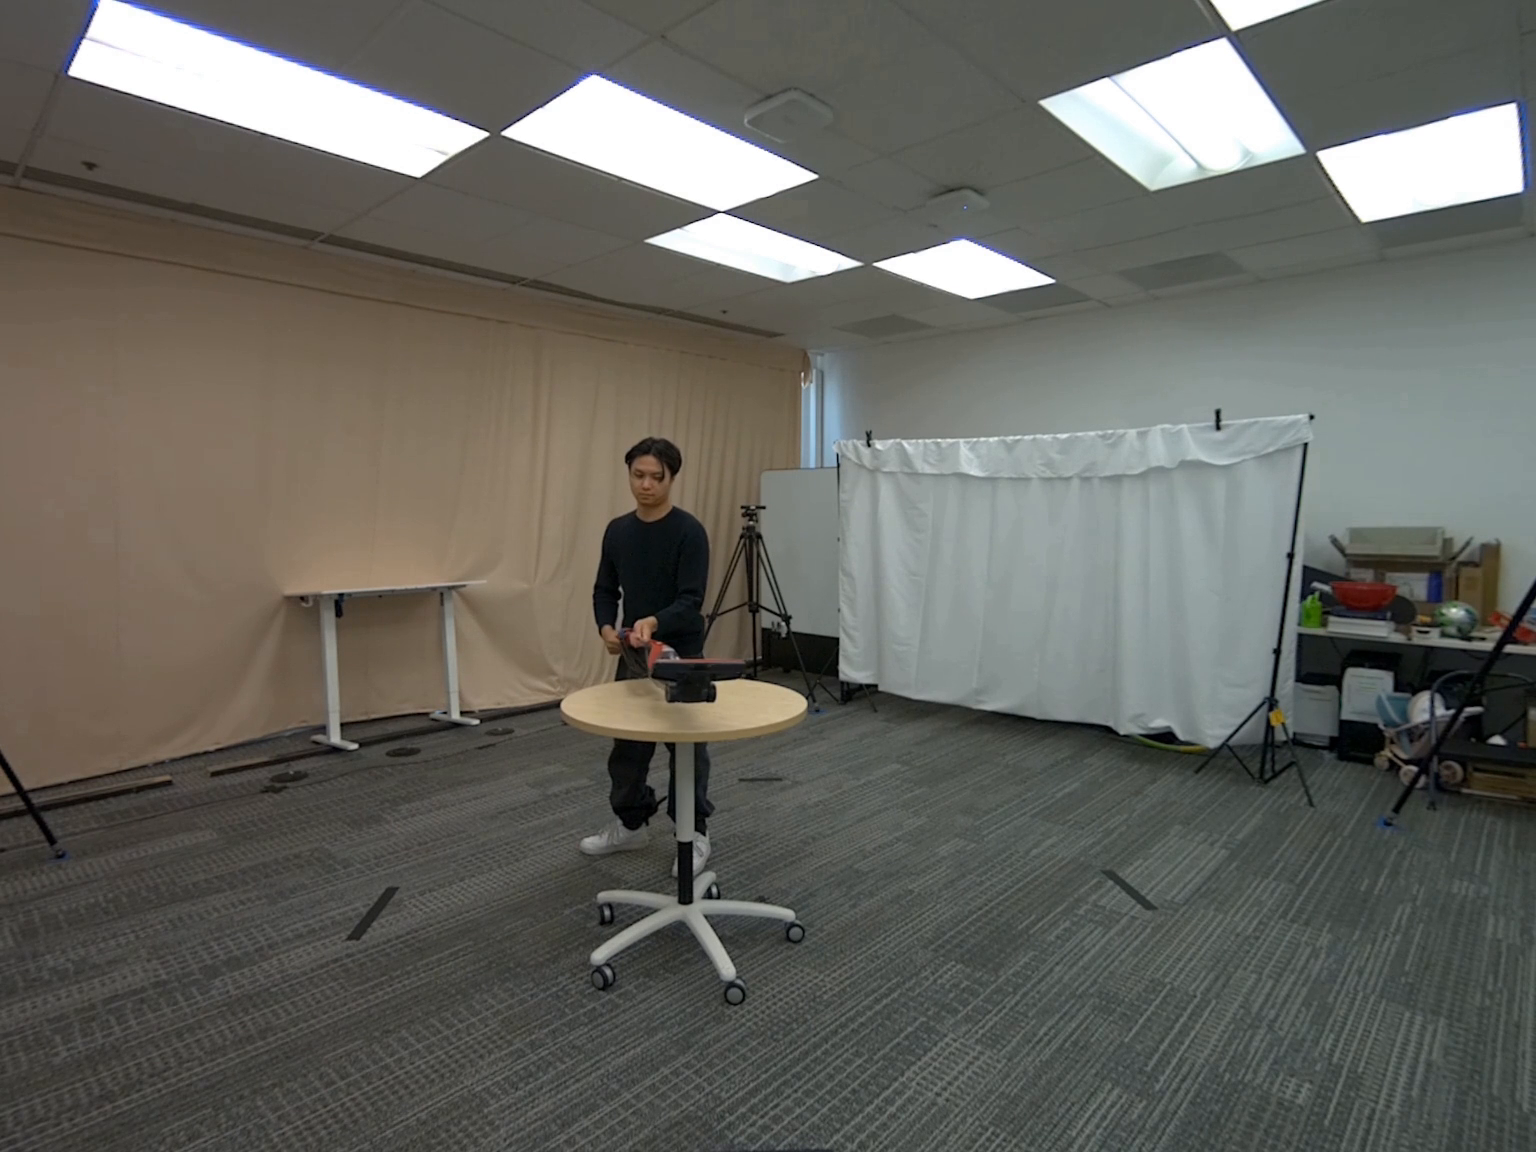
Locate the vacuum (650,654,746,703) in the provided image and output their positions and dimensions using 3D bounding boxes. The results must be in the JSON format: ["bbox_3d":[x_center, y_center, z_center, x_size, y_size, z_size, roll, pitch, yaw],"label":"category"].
[{"bbox_3d":[-0.370,0.269,2.727,0.248,0.144,1.069,2,1,-19],"label":"vacuum"}]
